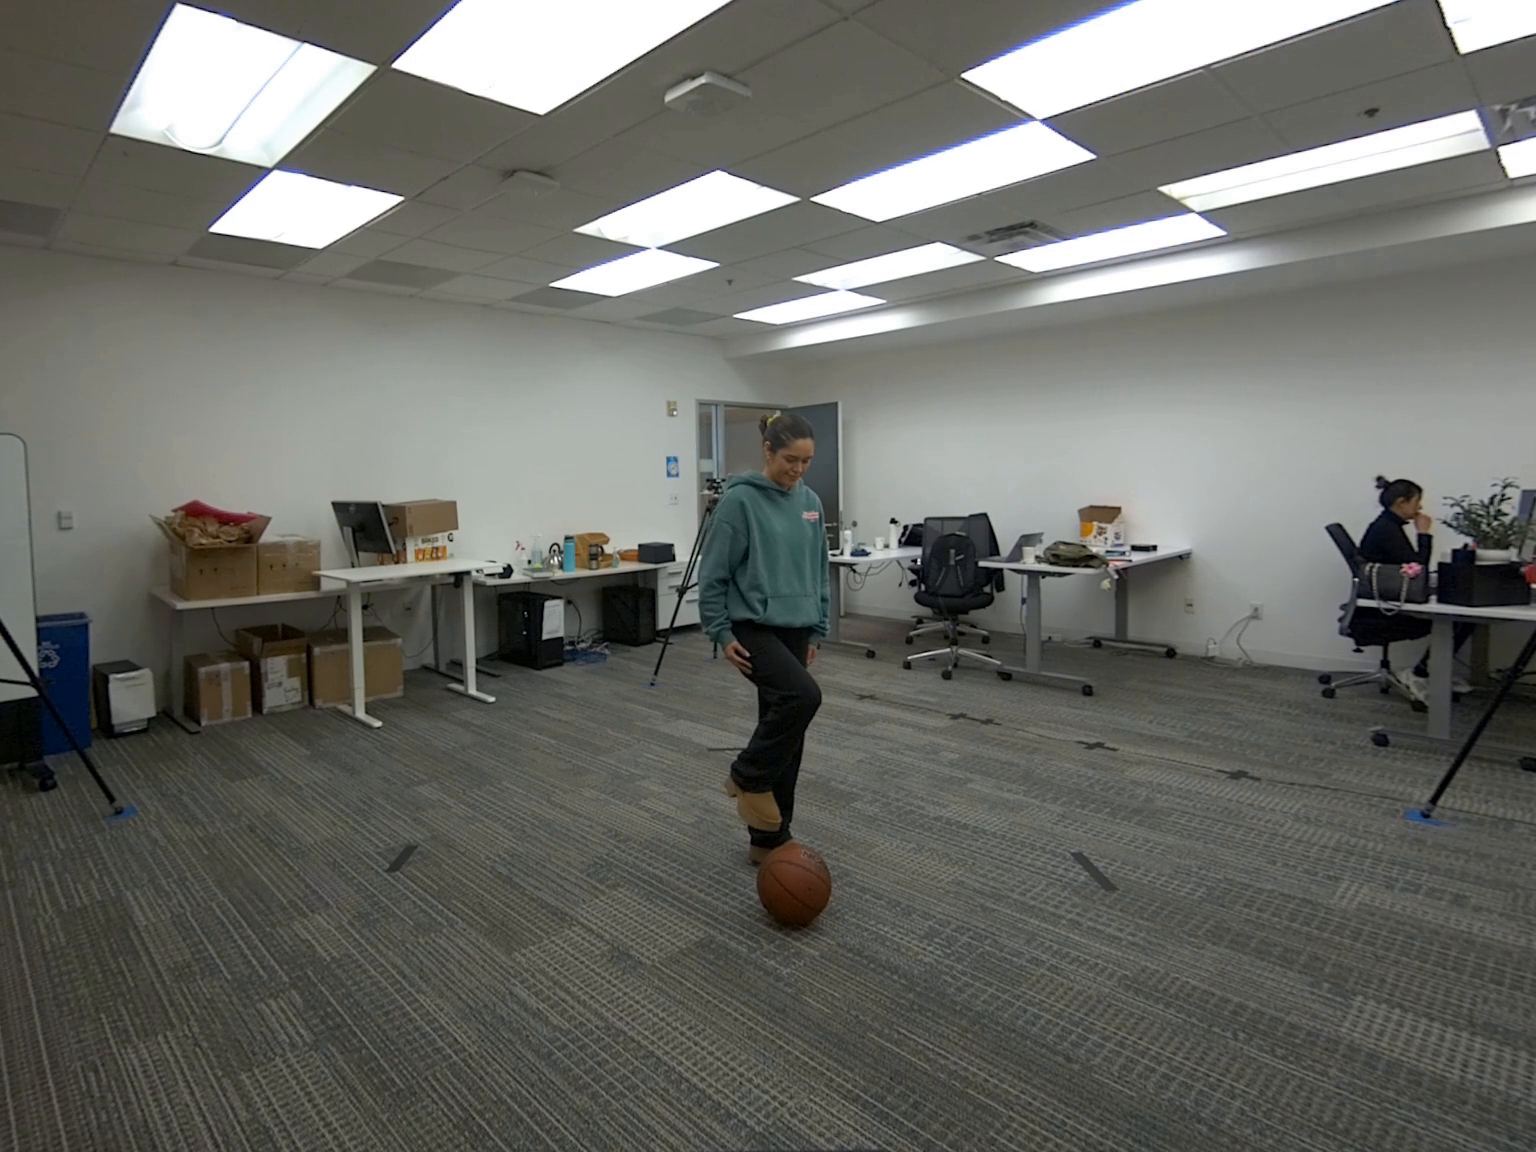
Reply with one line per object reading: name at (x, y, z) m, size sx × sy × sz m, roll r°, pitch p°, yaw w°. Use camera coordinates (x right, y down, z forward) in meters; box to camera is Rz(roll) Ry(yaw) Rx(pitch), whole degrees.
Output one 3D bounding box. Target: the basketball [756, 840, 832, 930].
basketball at (0.086, 0.972, 2.703) m, size 0.236 × 0.235 × 0.237 m, roll -1°, pitch 5°, yaw -2°
